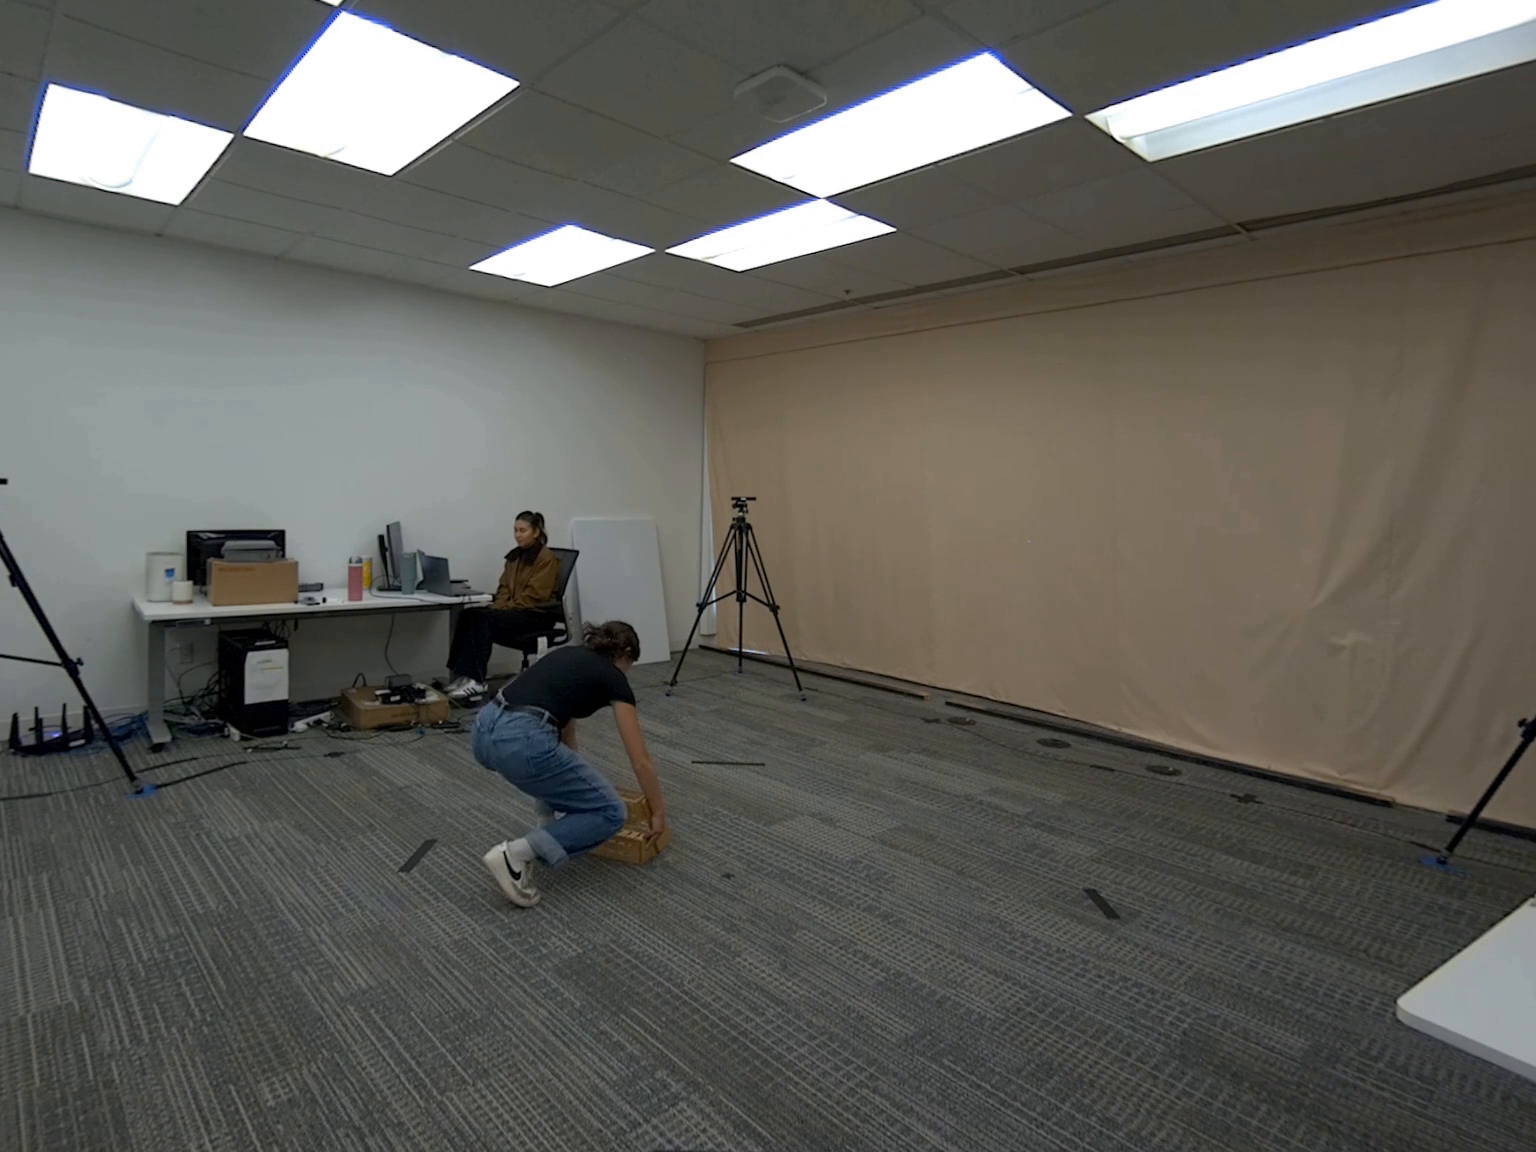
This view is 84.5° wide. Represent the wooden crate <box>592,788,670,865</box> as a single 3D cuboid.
[{"bbox_3d":[-0.587,0.945,3.325,0.330,0.272,0.298,3,5,21],"label":"wooden crate"}]
